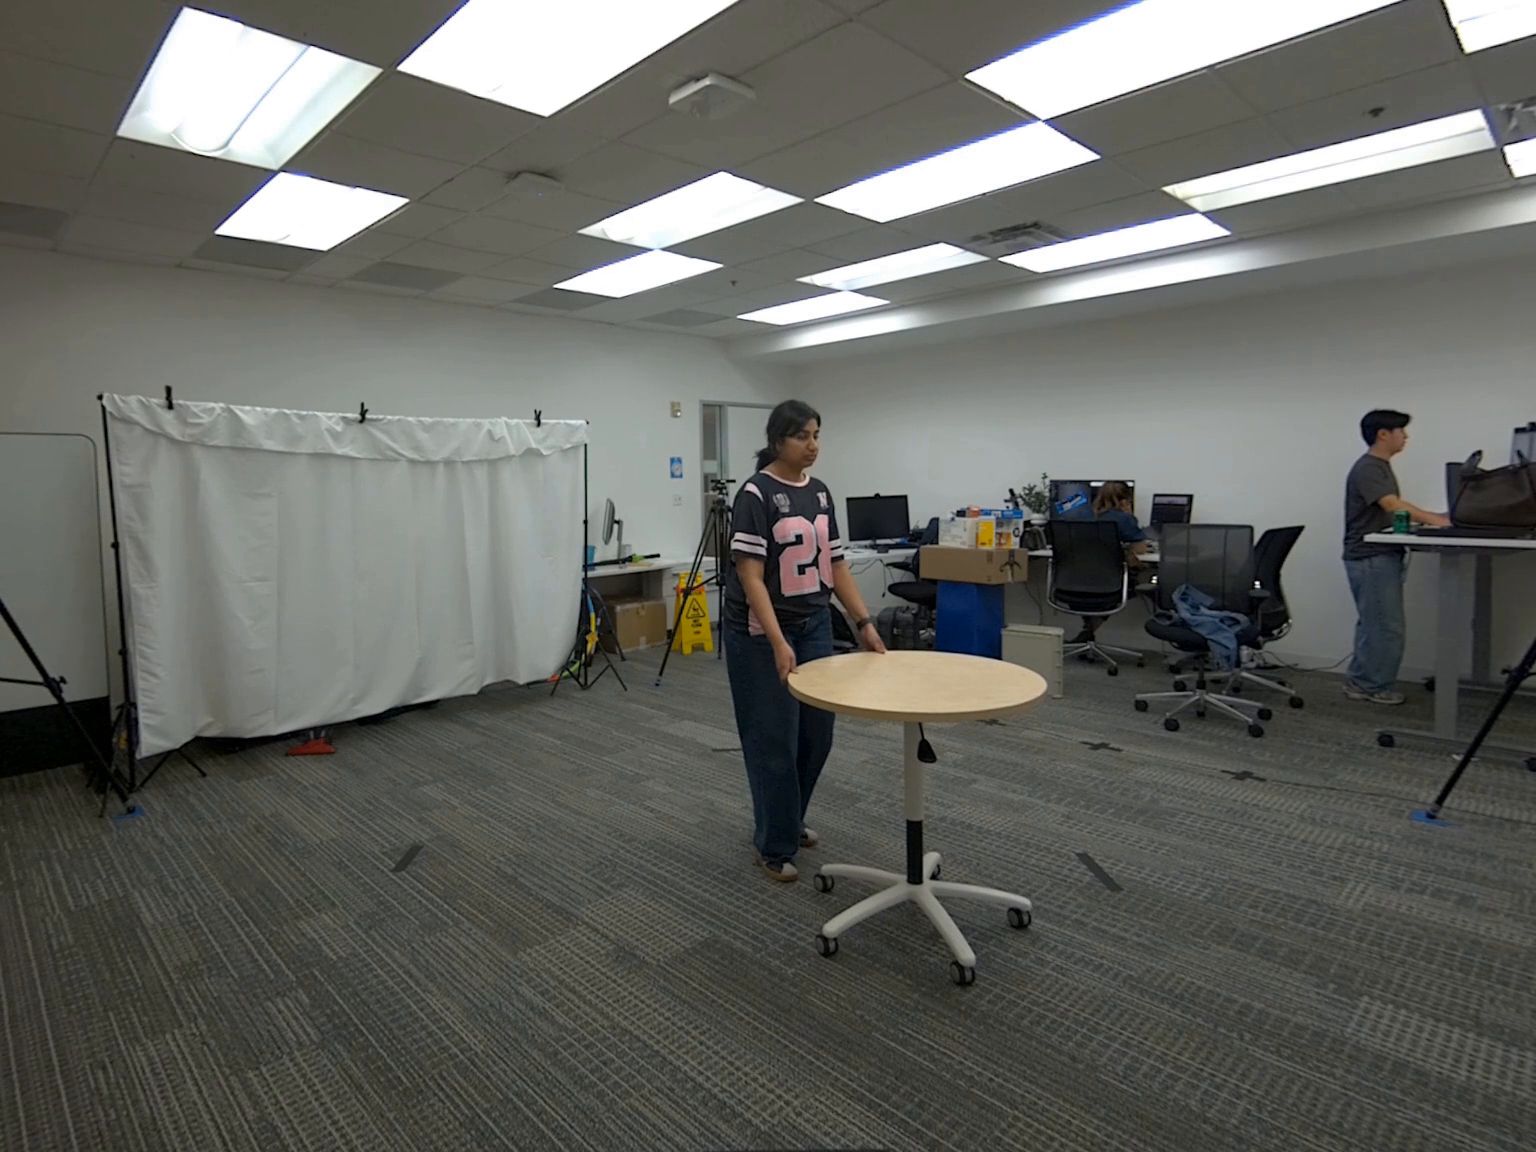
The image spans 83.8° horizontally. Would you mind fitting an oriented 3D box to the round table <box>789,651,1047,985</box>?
[{"bbox_3d":[0.447,0.695,2.654,0.784,0.783,0.790,-1,6,-2],"label":"round table"}]
